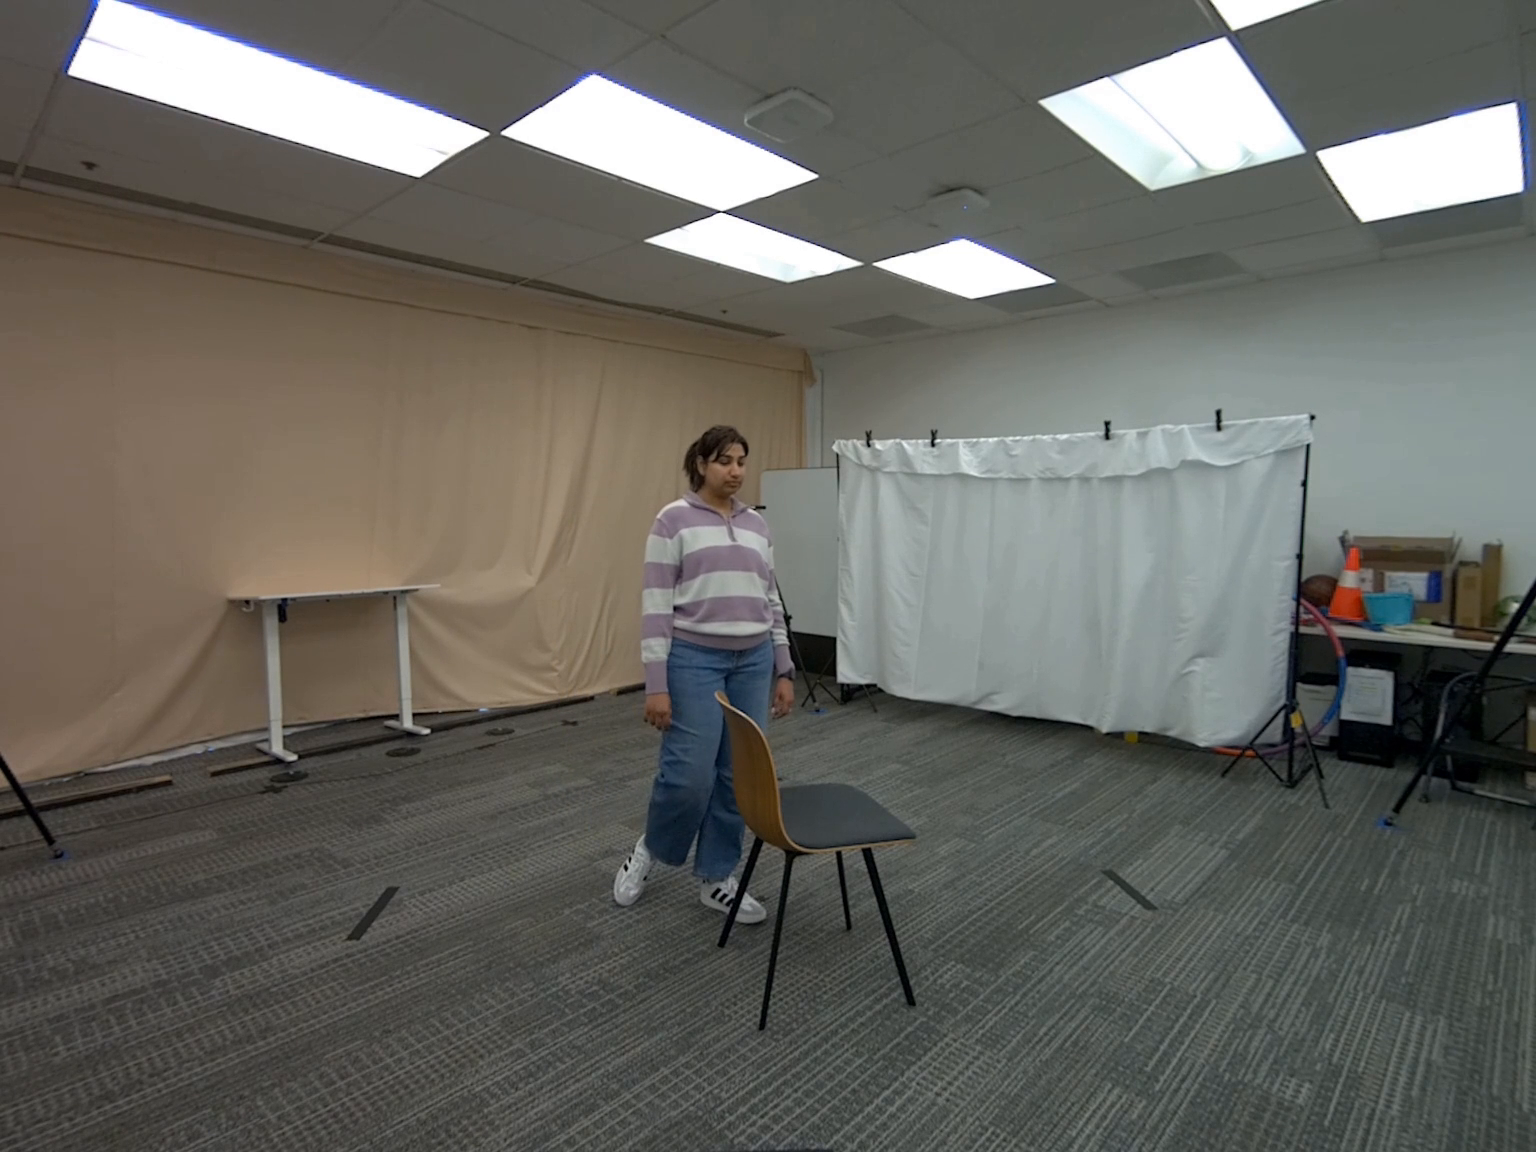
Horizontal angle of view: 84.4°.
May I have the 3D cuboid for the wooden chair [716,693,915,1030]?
[{"bbox_3d":[0.144,0.760,2.480,0.515,0.875,0.487,-5,3,-16],"label":"wooden chair"}]
